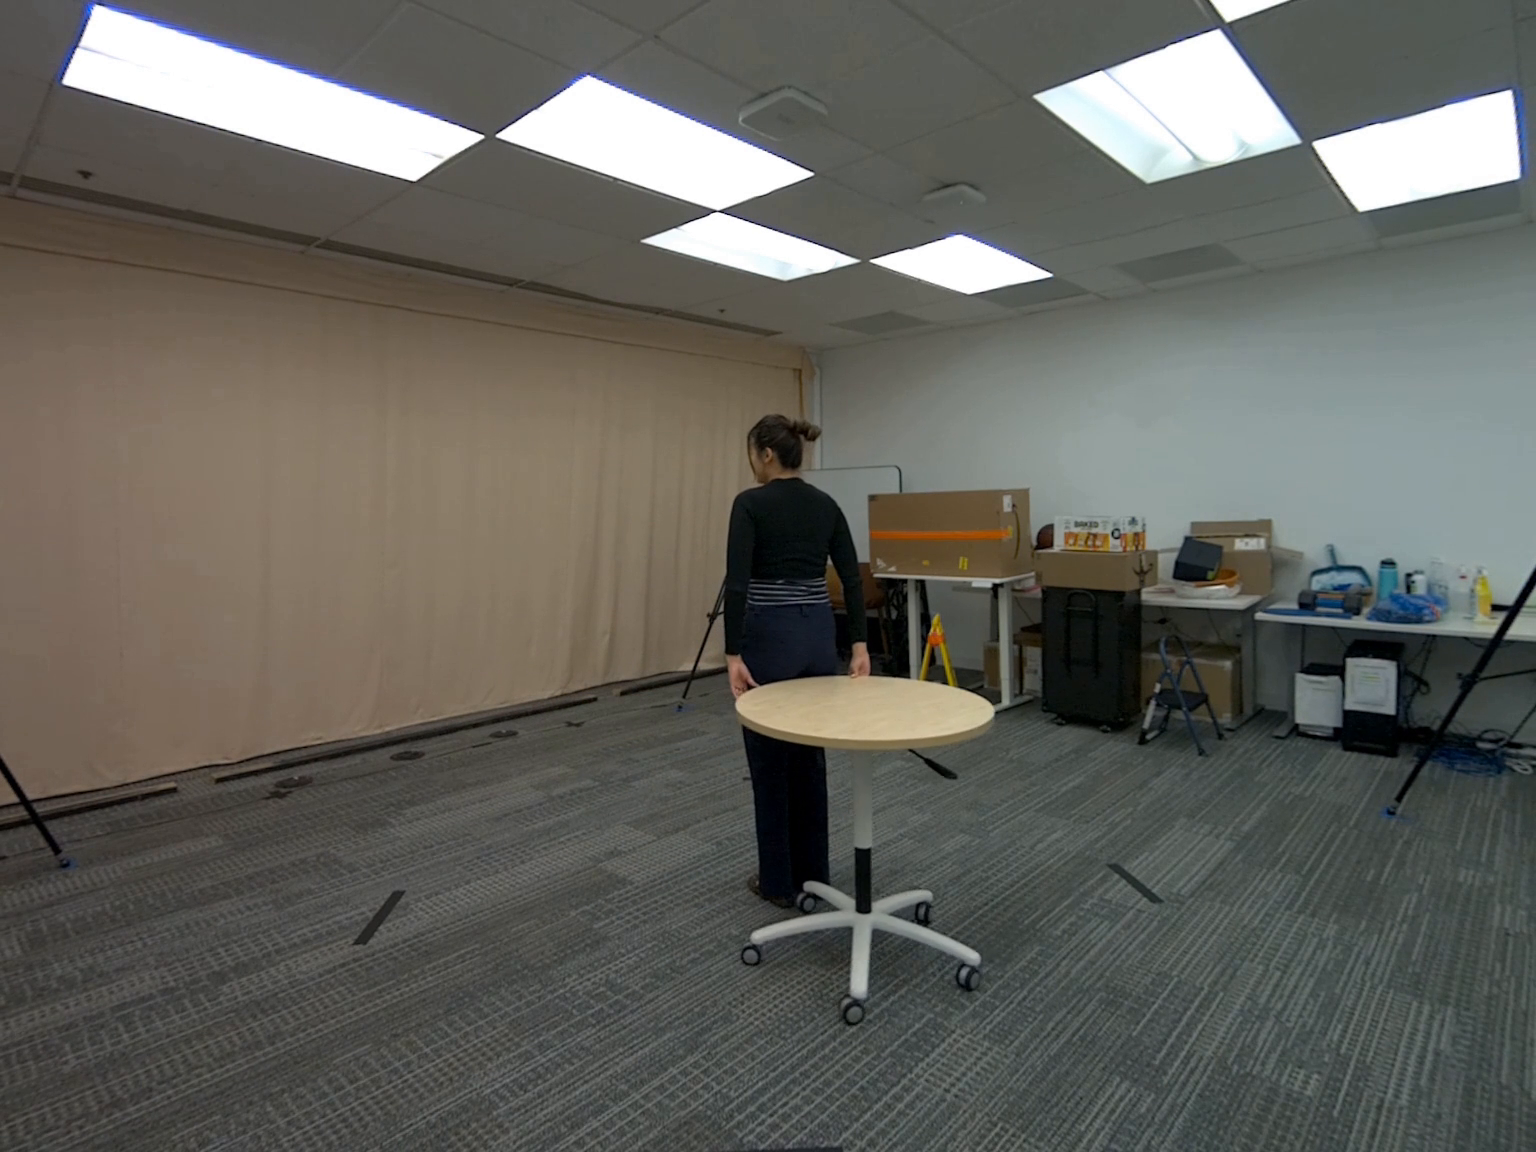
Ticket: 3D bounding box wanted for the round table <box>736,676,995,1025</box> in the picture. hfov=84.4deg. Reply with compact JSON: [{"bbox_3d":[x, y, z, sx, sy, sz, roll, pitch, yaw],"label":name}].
[{"bbox_3d":[0.296,0.779,2.576,0.763,0.792,0.767,-1,4,-2],"label":"round table"}]
